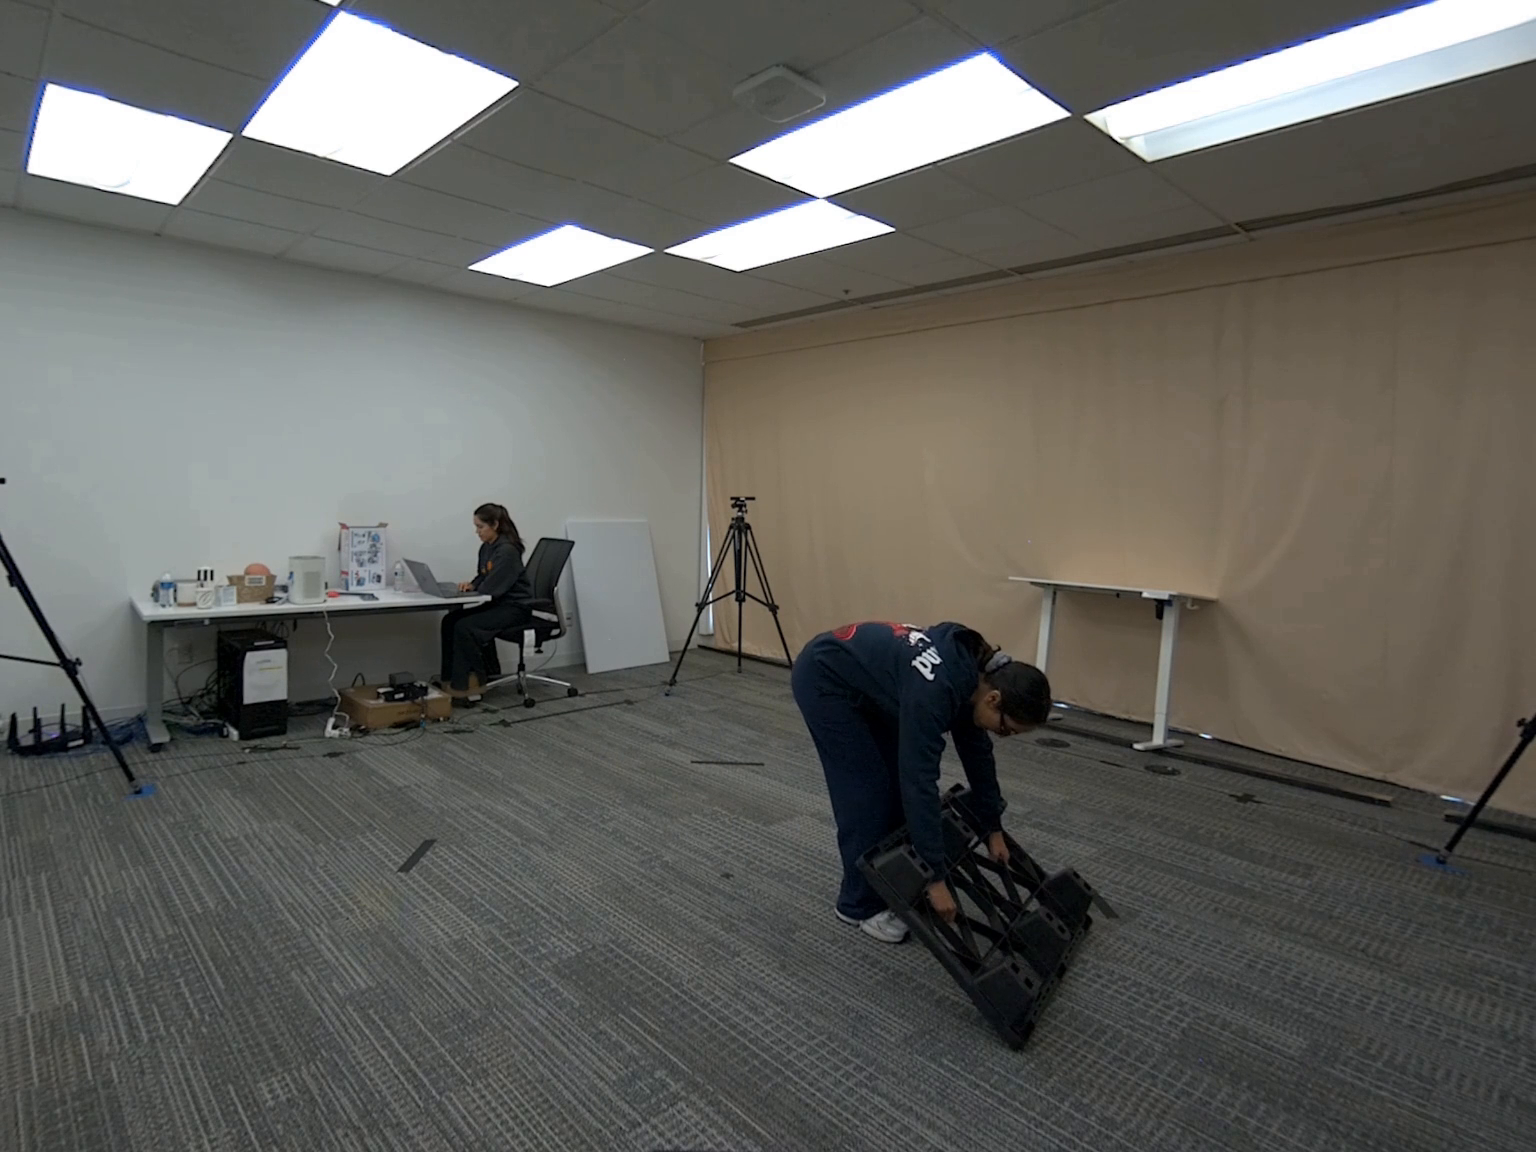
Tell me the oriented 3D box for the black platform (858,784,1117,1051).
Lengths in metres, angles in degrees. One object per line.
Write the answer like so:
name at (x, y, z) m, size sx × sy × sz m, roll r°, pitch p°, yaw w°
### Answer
black platform at (0.683, 0.947, 2.571) m, size 0.620 × 0.143 × 0.789 m, roll 44°, pitch 25°, yaw 23°
